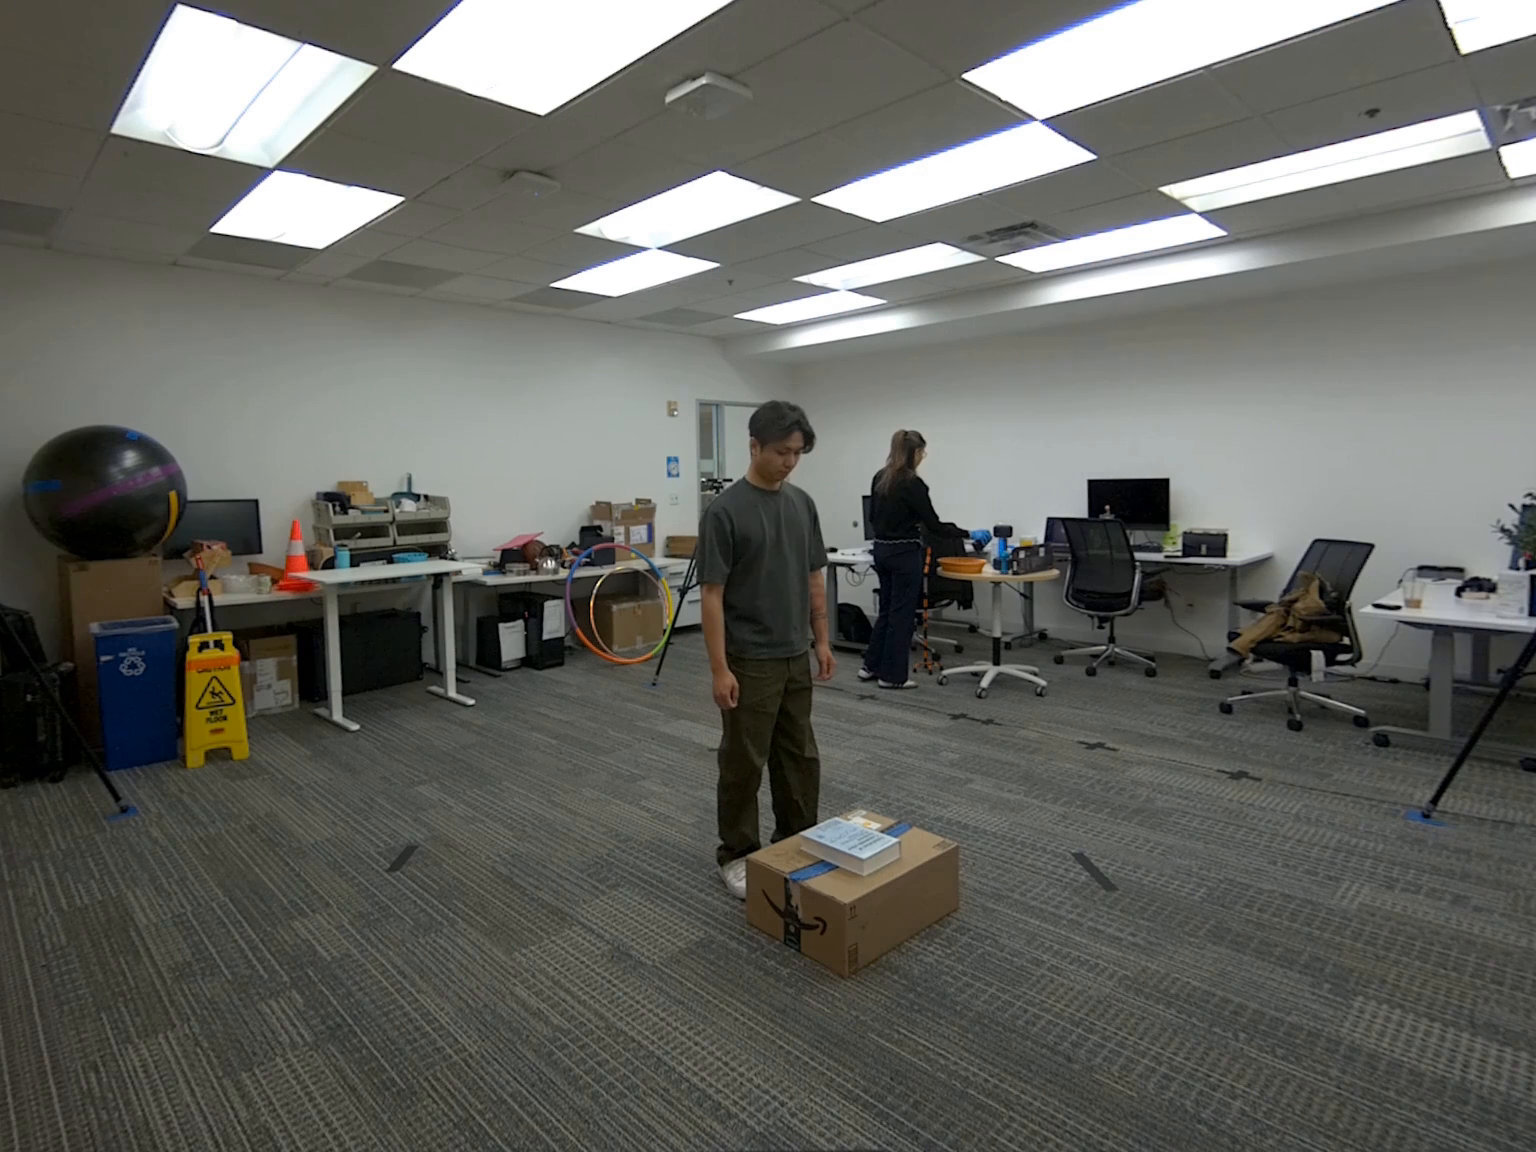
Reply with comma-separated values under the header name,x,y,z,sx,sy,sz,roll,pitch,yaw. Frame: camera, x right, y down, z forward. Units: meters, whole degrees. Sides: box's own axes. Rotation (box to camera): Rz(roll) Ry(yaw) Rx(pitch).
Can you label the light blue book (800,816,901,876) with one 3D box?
name,x,y,z,sx,sy,sz,roll,pitch,yaw
light blue book,0.262,0.848,2.695,0.186,0.059,0.269,-8,9,-44
